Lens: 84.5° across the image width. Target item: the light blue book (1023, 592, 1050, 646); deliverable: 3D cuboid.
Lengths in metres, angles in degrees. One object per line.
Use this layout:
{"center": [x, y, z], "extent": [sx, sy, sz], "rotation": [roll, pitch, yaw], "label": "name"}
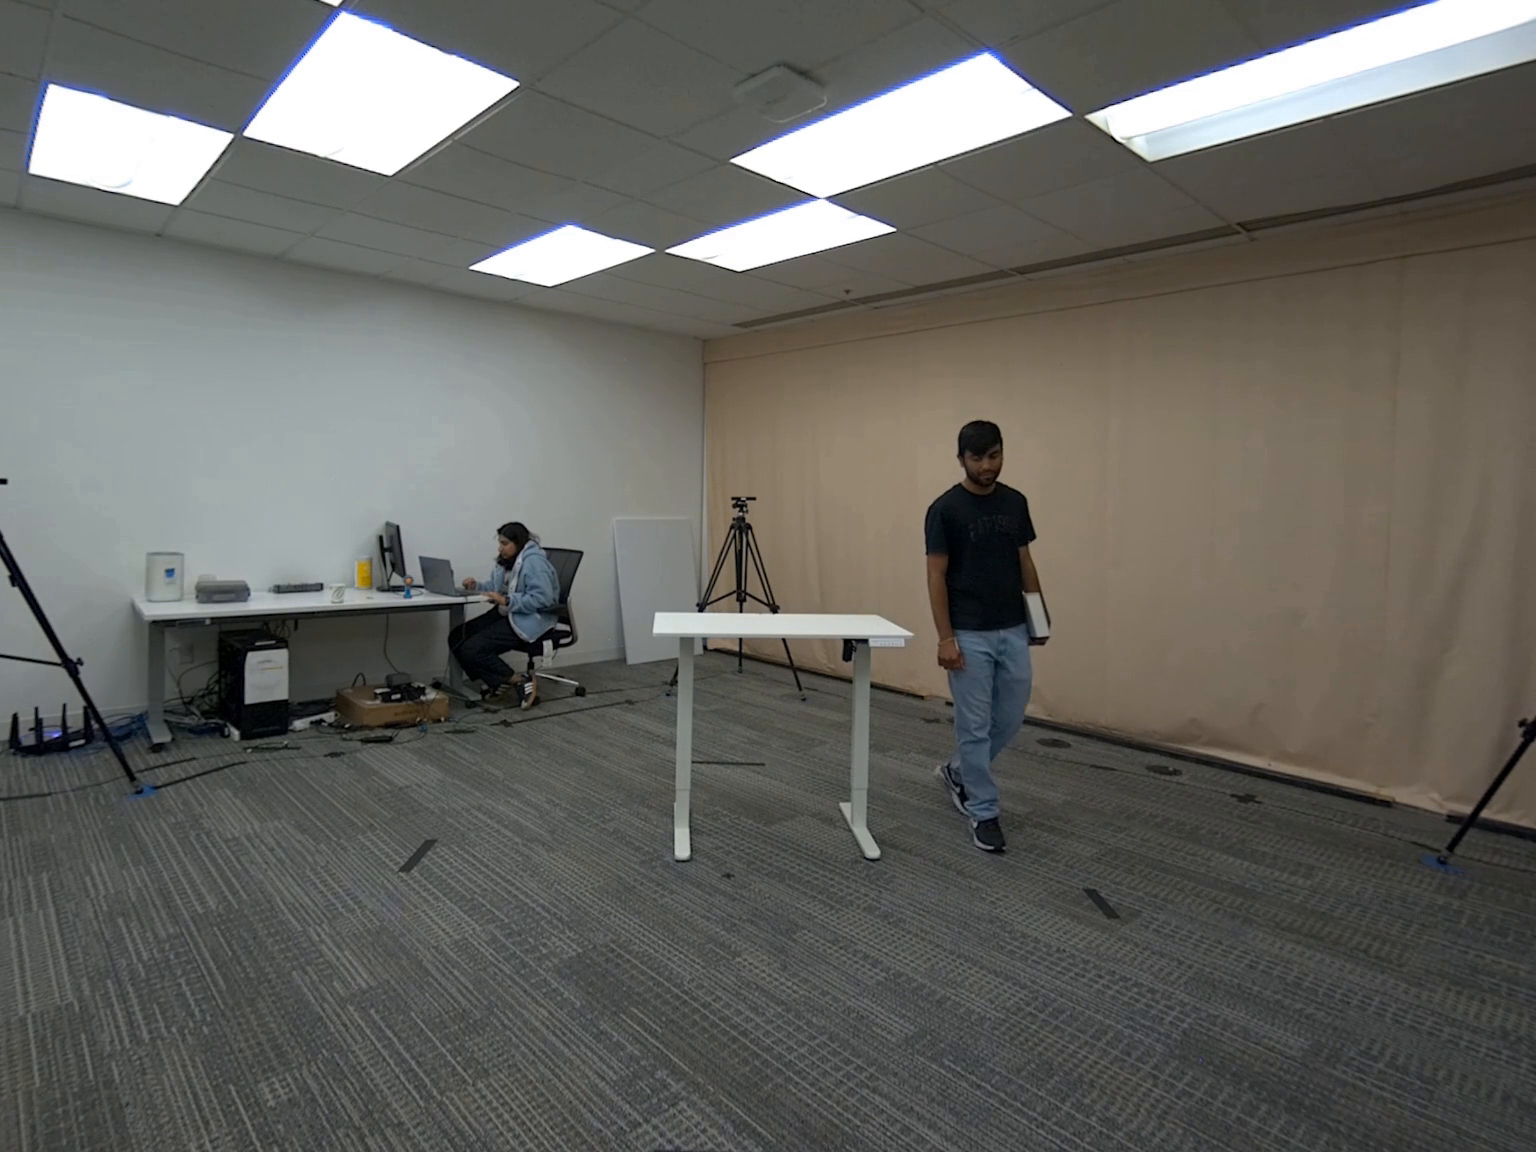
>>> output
{"center": [1.096, 0.166, 3.630], "extent": [0.059, 0.192, 0.261], "rotation": [-12, -2, -5], "label": "light blue book"}
